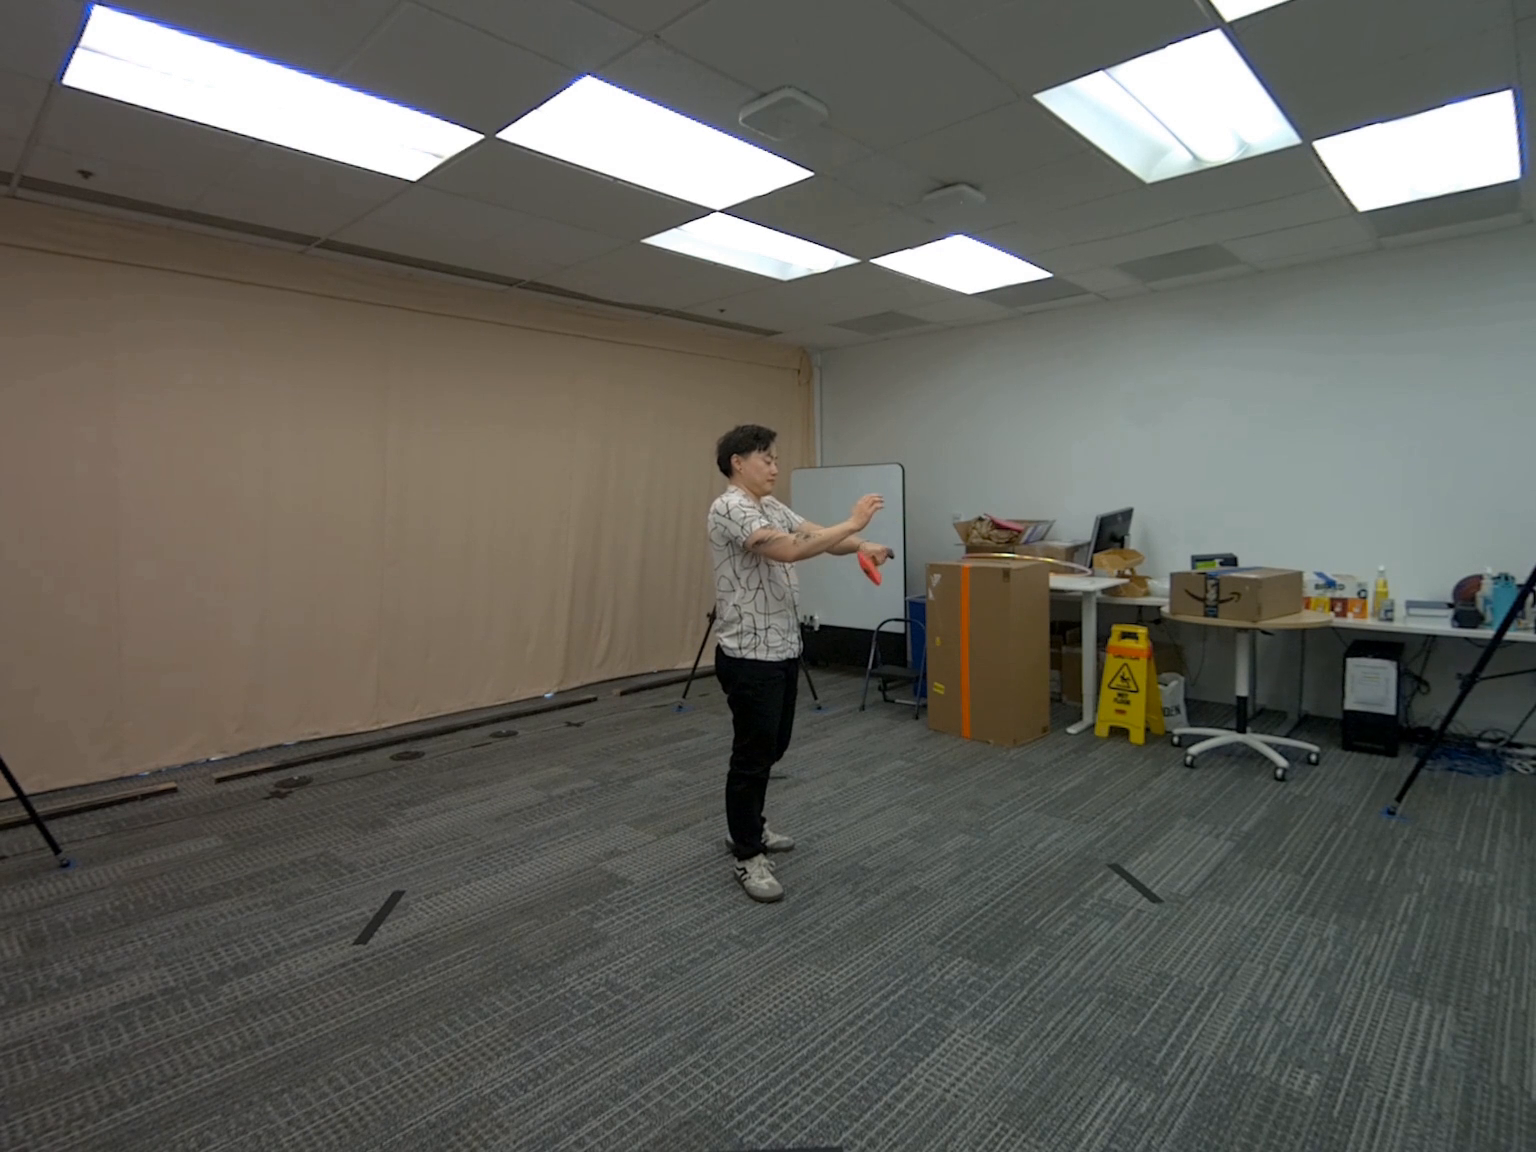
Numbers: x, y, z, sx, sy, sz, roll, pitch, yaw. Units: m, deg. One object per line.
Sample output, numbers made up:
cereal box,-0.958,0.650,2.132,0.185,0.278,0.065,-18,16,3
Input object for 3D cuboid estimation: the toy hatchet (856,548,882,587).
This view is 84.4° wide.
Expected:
toy hatchet,0.398,-0.035,2.935,0.030,0.133,0.262,-34,-15,31
